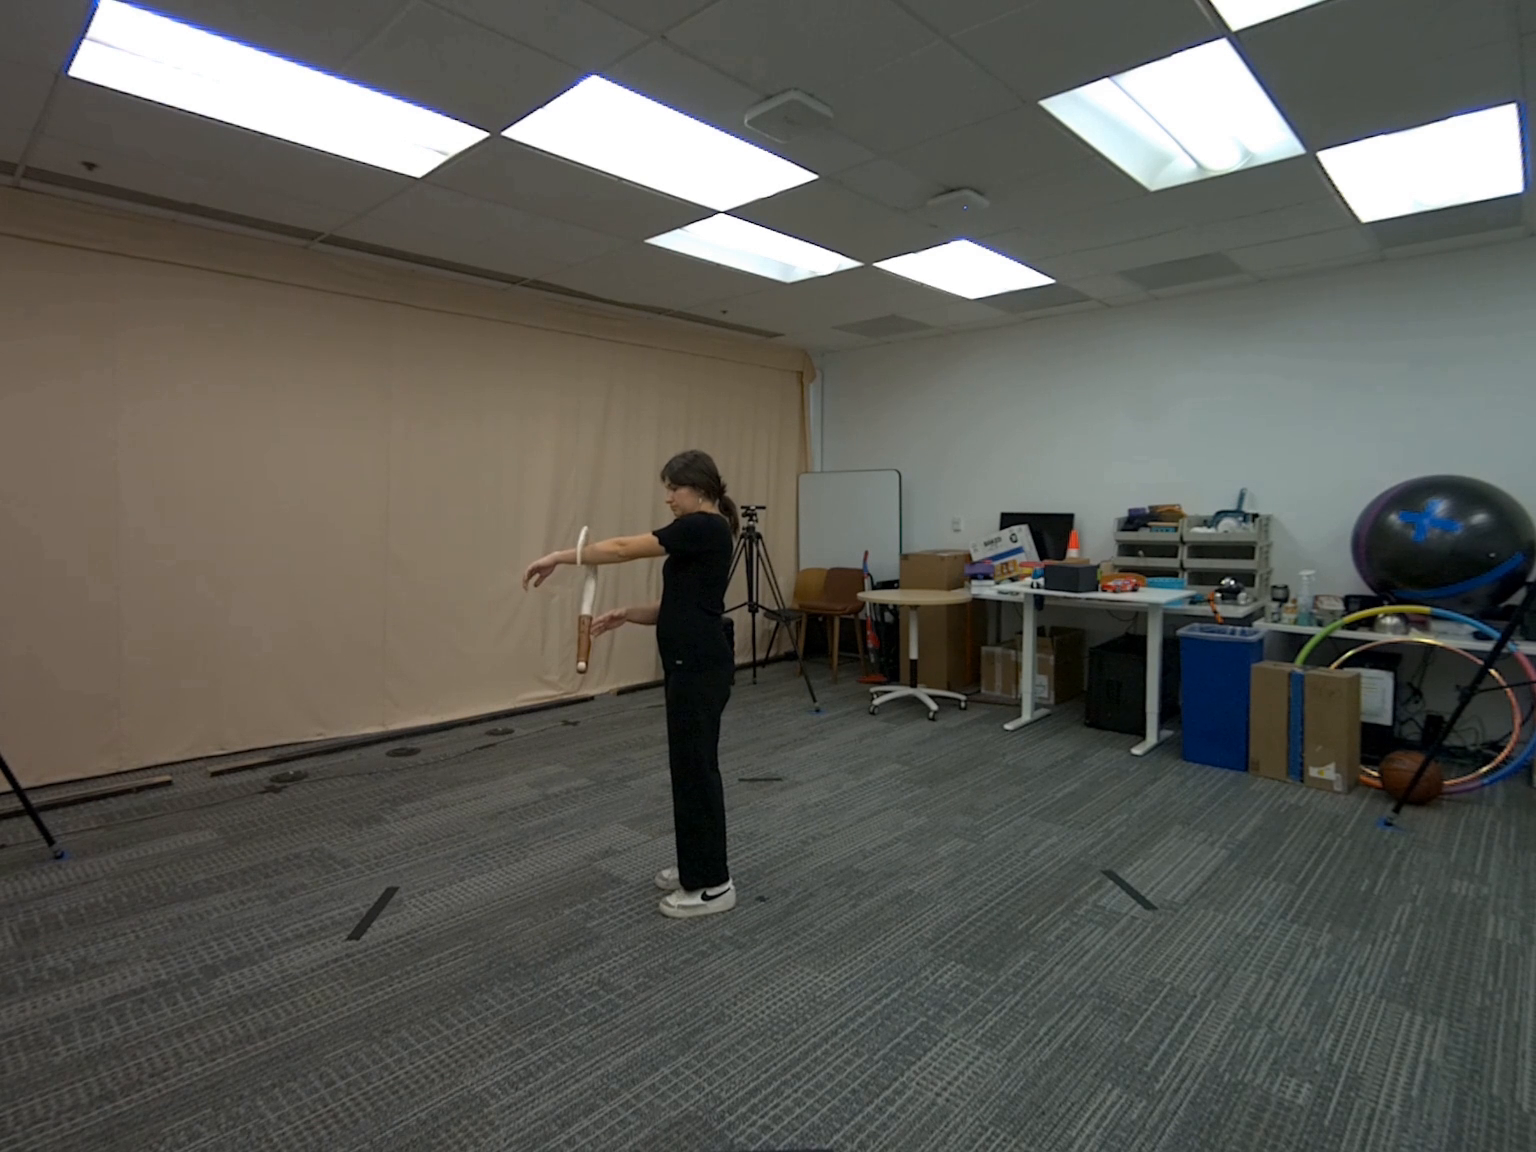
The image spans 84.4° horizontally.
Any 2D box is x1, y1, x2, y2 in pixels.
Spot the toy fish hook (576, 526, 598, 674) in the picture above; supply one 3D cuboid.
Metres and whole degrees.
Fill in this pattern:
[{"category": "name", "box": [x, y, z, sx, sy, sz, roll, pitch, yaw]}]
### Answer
[{"category": "toy fish hook", "box": [-0.604, 0.073, 2.747, 0.048, 0.517, 0.219, -9, -34, 3]}]
